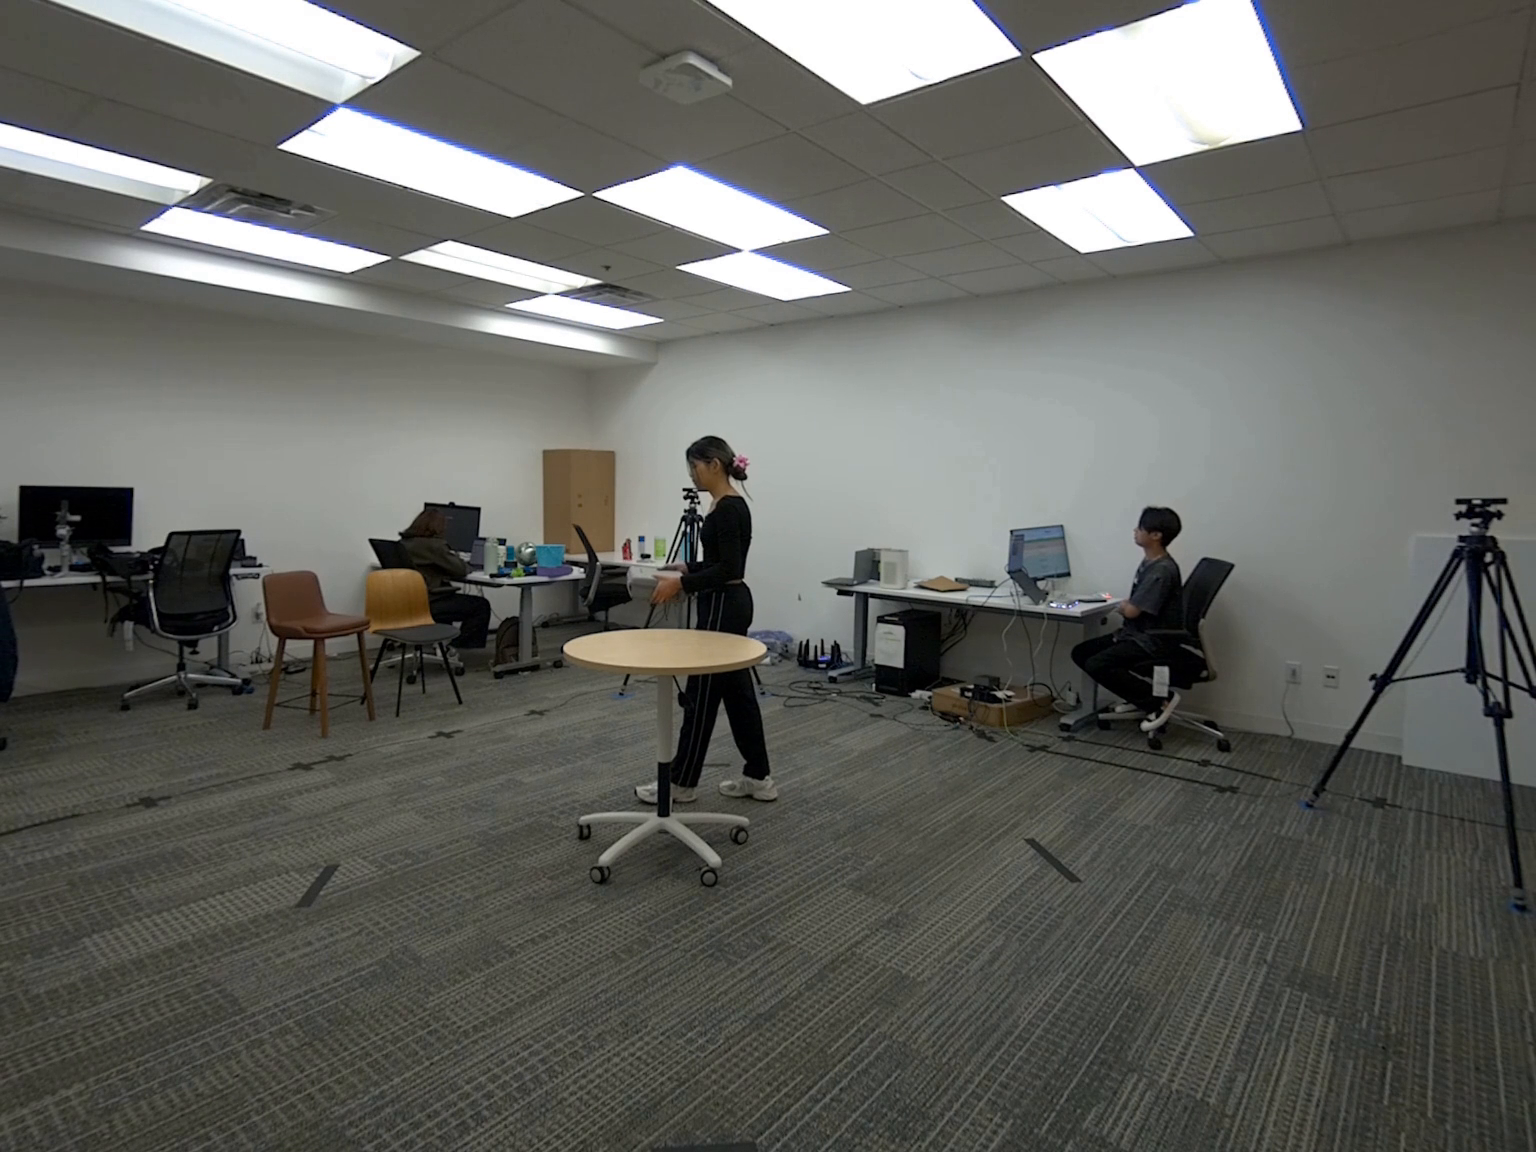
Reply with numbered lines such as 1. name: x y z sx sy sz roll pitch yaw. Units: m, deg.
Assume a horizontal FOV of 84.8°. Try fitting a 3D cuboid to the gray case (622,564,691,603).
1. gray case: -0.505 0.029 3.805 0.256 0.104 0.263 5 8 -17
